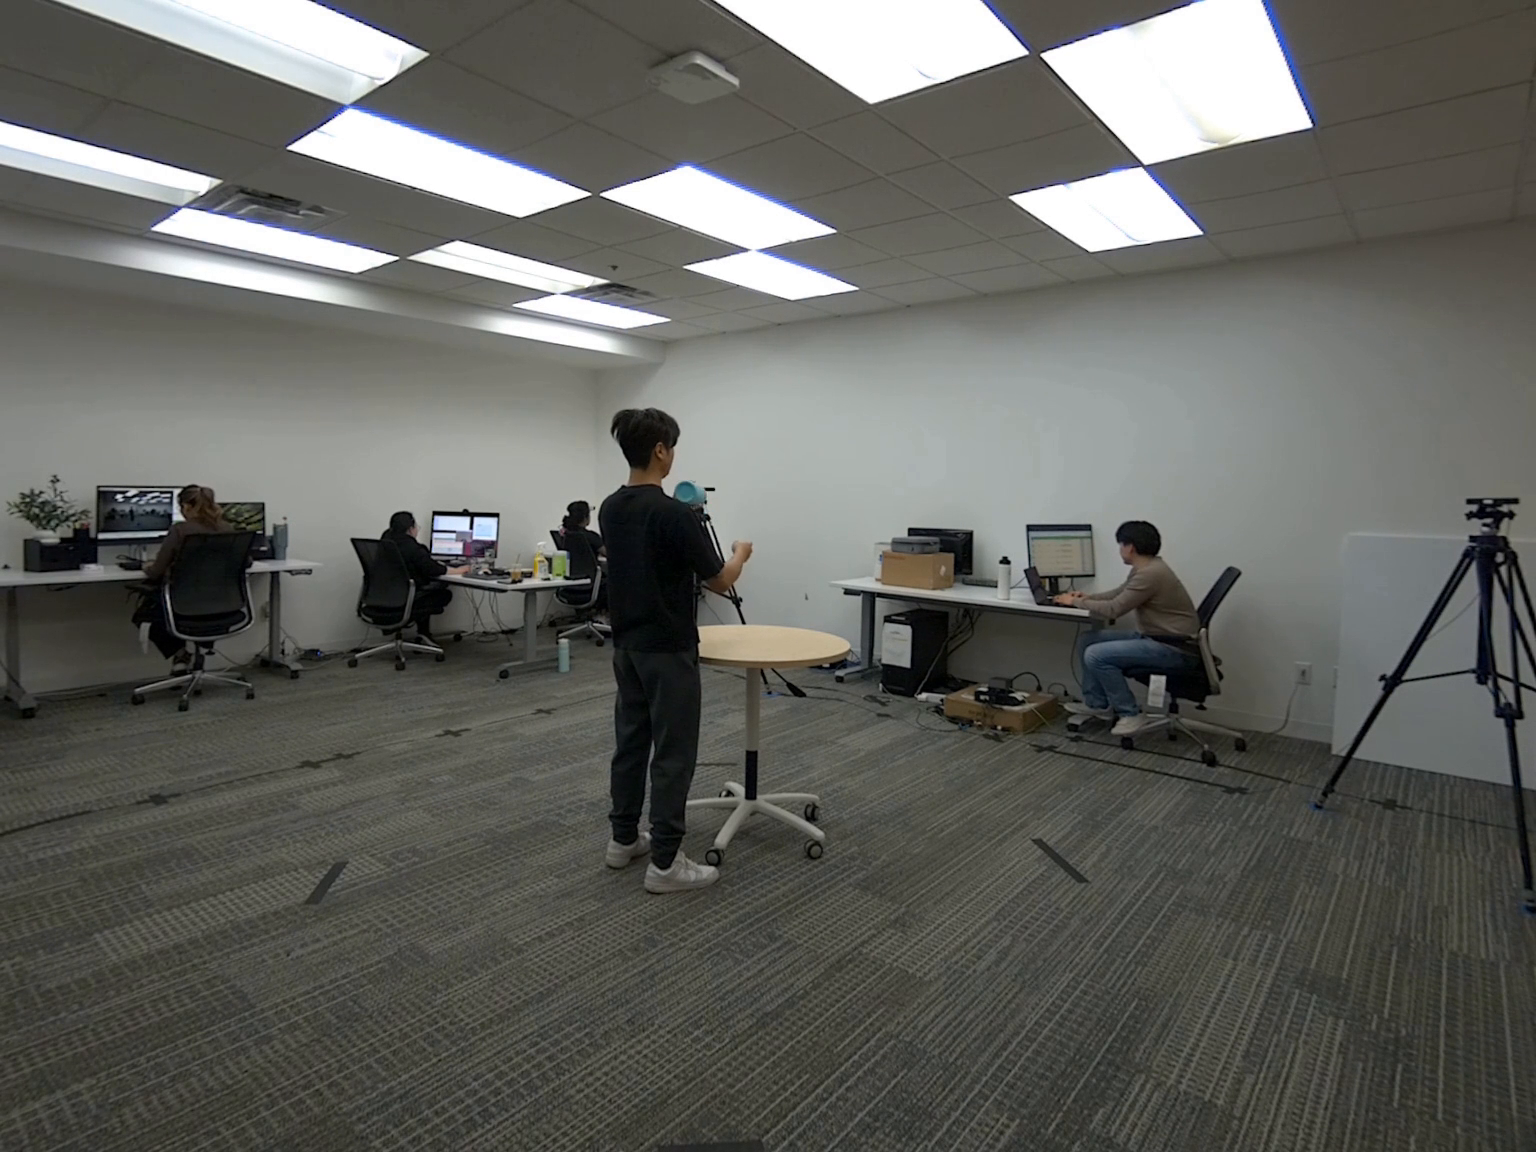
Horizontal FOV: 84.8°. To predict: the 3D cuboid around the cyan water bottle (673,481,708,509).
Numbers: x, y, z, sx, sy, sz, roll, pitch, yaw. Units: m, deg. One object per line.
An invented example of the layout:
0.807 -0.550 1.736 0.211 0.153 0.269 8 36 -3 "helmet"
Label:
-0.318 -0.331 3.450 0.093 0.092 0.281 1 2 6 "cyan water bottle"
